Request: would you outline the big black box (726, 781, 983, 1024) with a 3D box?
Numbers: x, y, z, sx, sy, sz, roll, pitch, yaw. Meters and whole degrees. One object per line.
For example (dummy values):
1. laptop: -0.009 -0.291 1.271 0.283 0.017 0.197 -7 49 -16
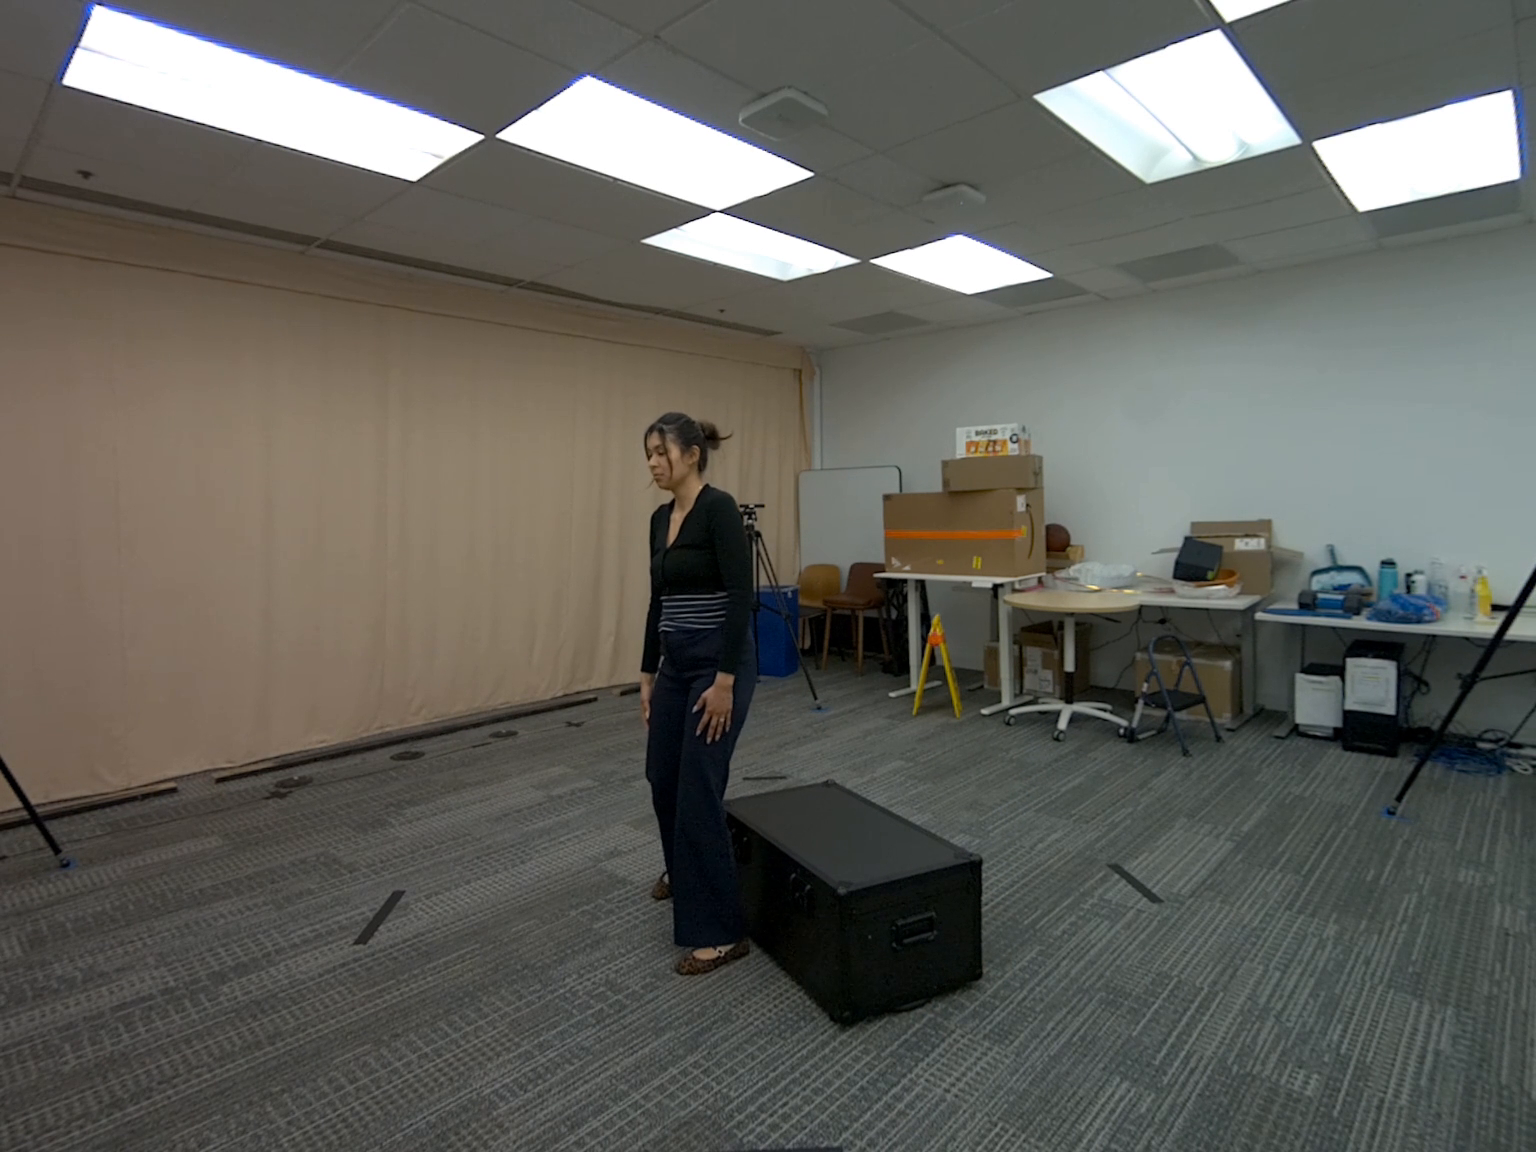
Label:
1. big black box: 0.236 0.977 2.623 0.508 0.395 0.885 -4 5 -28
